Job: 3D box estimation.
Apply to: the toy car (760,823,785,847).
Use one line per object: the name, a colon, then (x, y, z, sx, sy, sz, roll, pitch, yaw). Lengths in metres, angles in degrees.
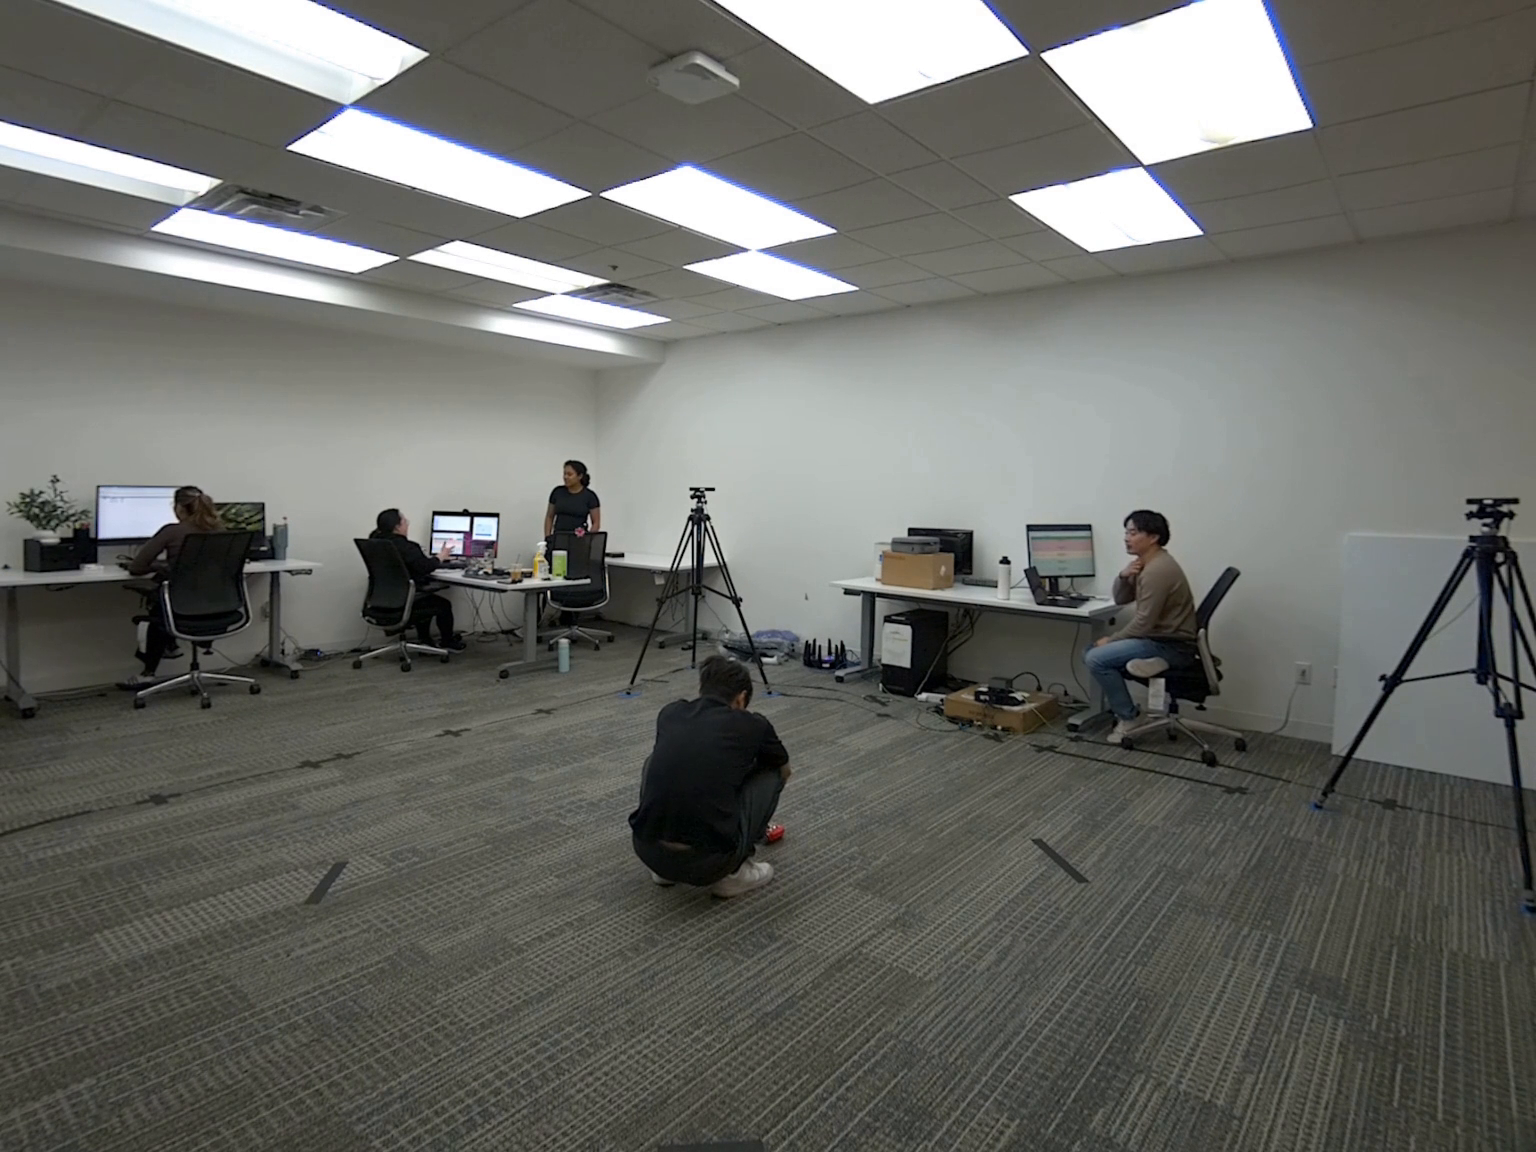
toy car: (-0.060, 1.006, 3.429, 0.264, 0.082, 0.126, 17, 14, 37)
